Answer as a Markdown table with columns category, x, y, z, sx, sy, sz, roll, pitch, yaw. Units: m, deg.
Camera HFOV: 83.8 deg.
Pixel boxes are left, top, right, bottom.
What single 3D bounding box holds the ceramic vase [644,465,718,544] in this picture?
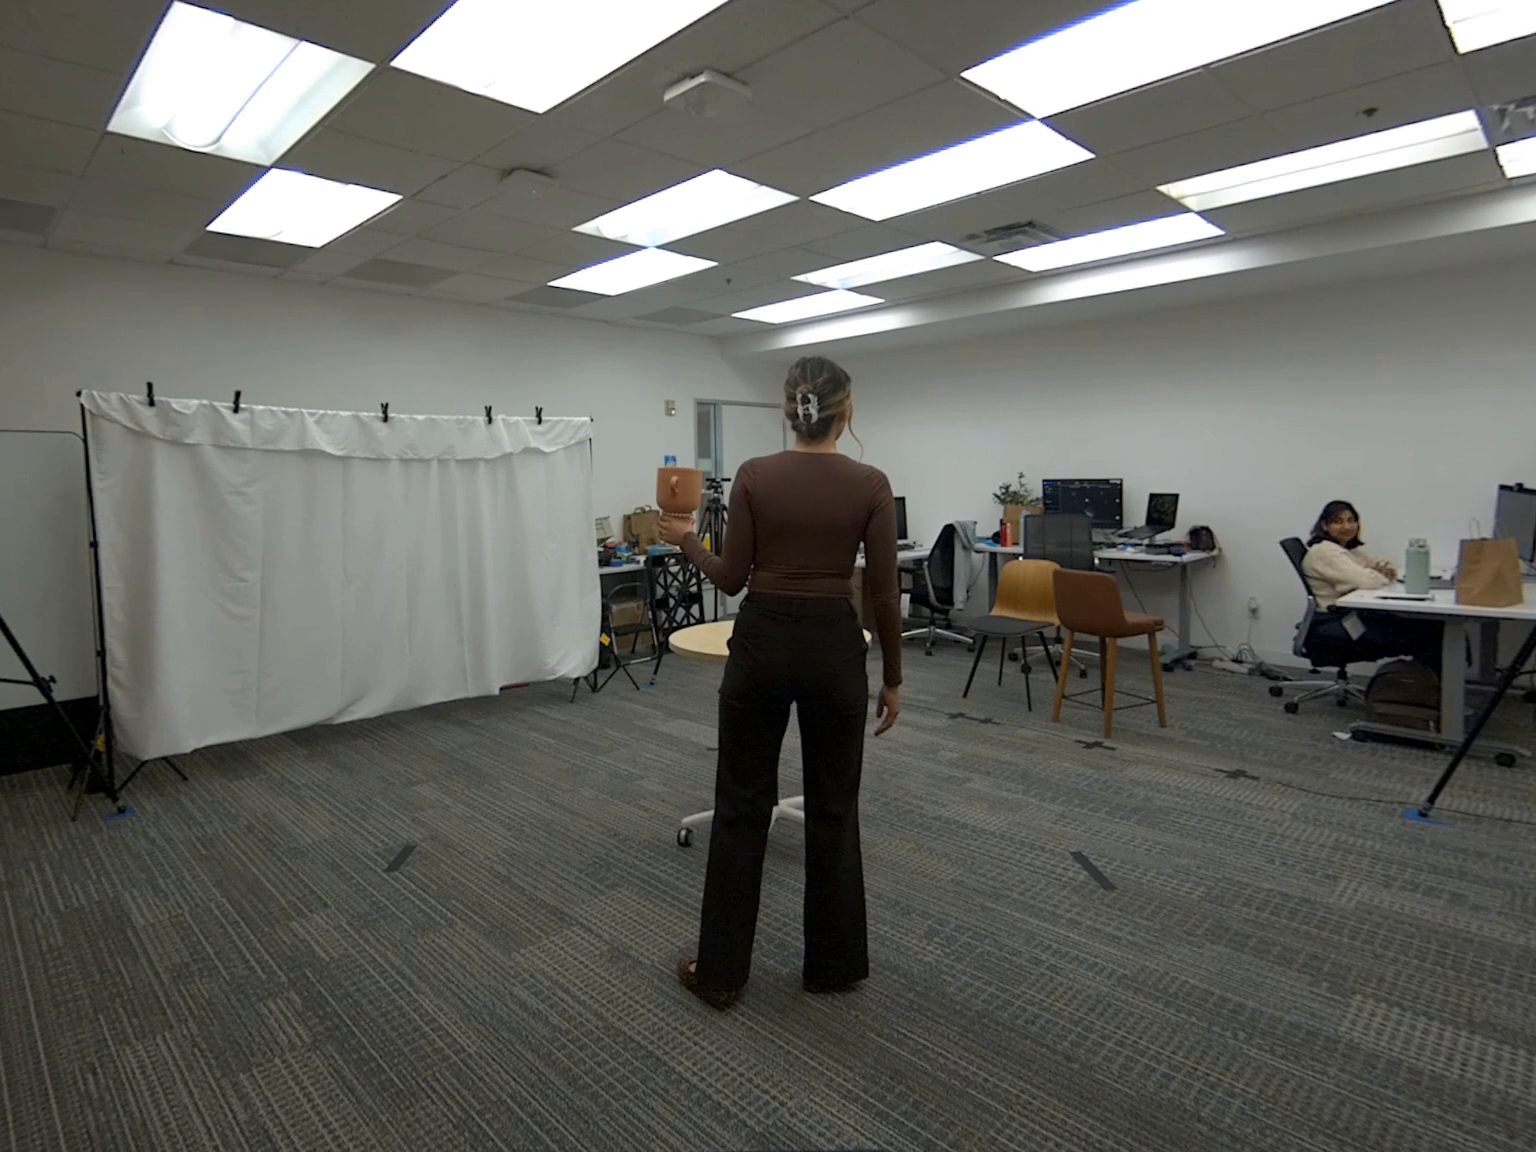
| category | x | y | z | sx | sy | sz | roll | pitch | yaw |
| --- | --- | --- | --- | --- | --- | --- | --- | --- | --- |
| ceramic vase | -0.264 | -0.217 | 2.566 | 0.154 | 0.219 | 0.139 | -2 | 7 | -44 |
